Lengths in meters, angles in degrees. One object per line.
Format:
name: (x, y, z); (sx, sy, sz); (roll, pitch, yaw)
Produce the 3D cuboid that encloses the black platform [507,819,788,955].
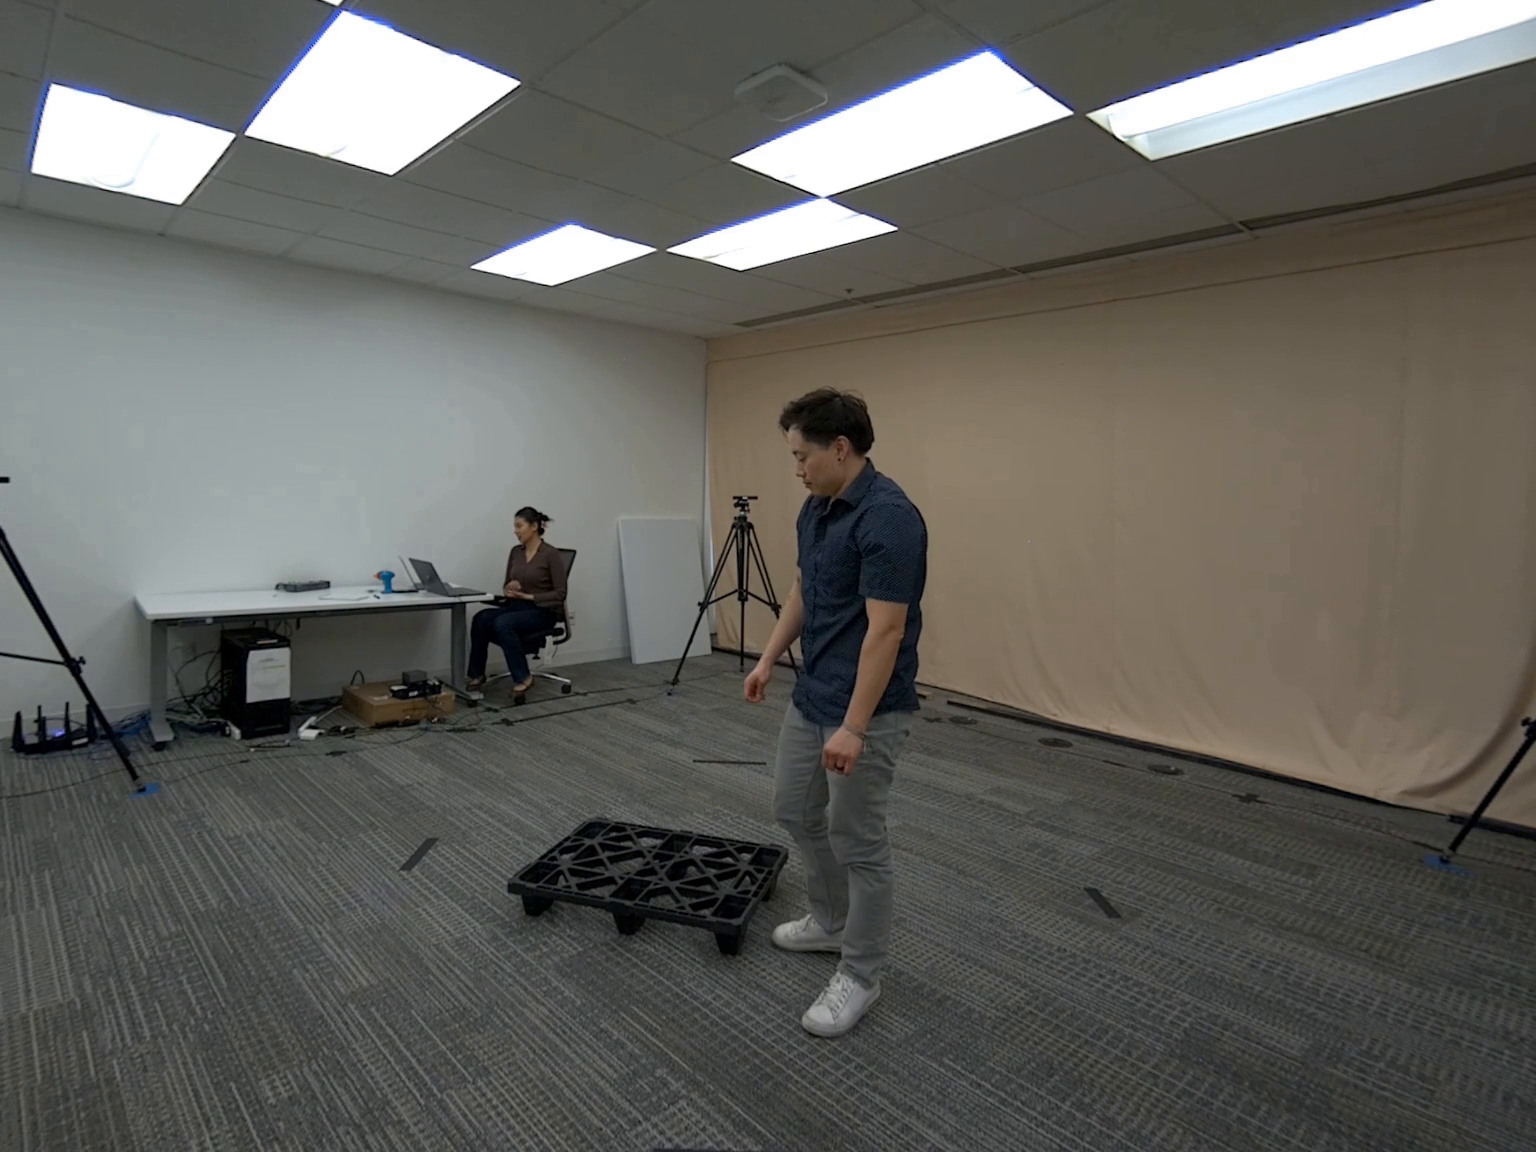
black platform: (-0.388, 1.051, 2.879); (0.817, 0.143, 0.599); (3, 6, 17)
